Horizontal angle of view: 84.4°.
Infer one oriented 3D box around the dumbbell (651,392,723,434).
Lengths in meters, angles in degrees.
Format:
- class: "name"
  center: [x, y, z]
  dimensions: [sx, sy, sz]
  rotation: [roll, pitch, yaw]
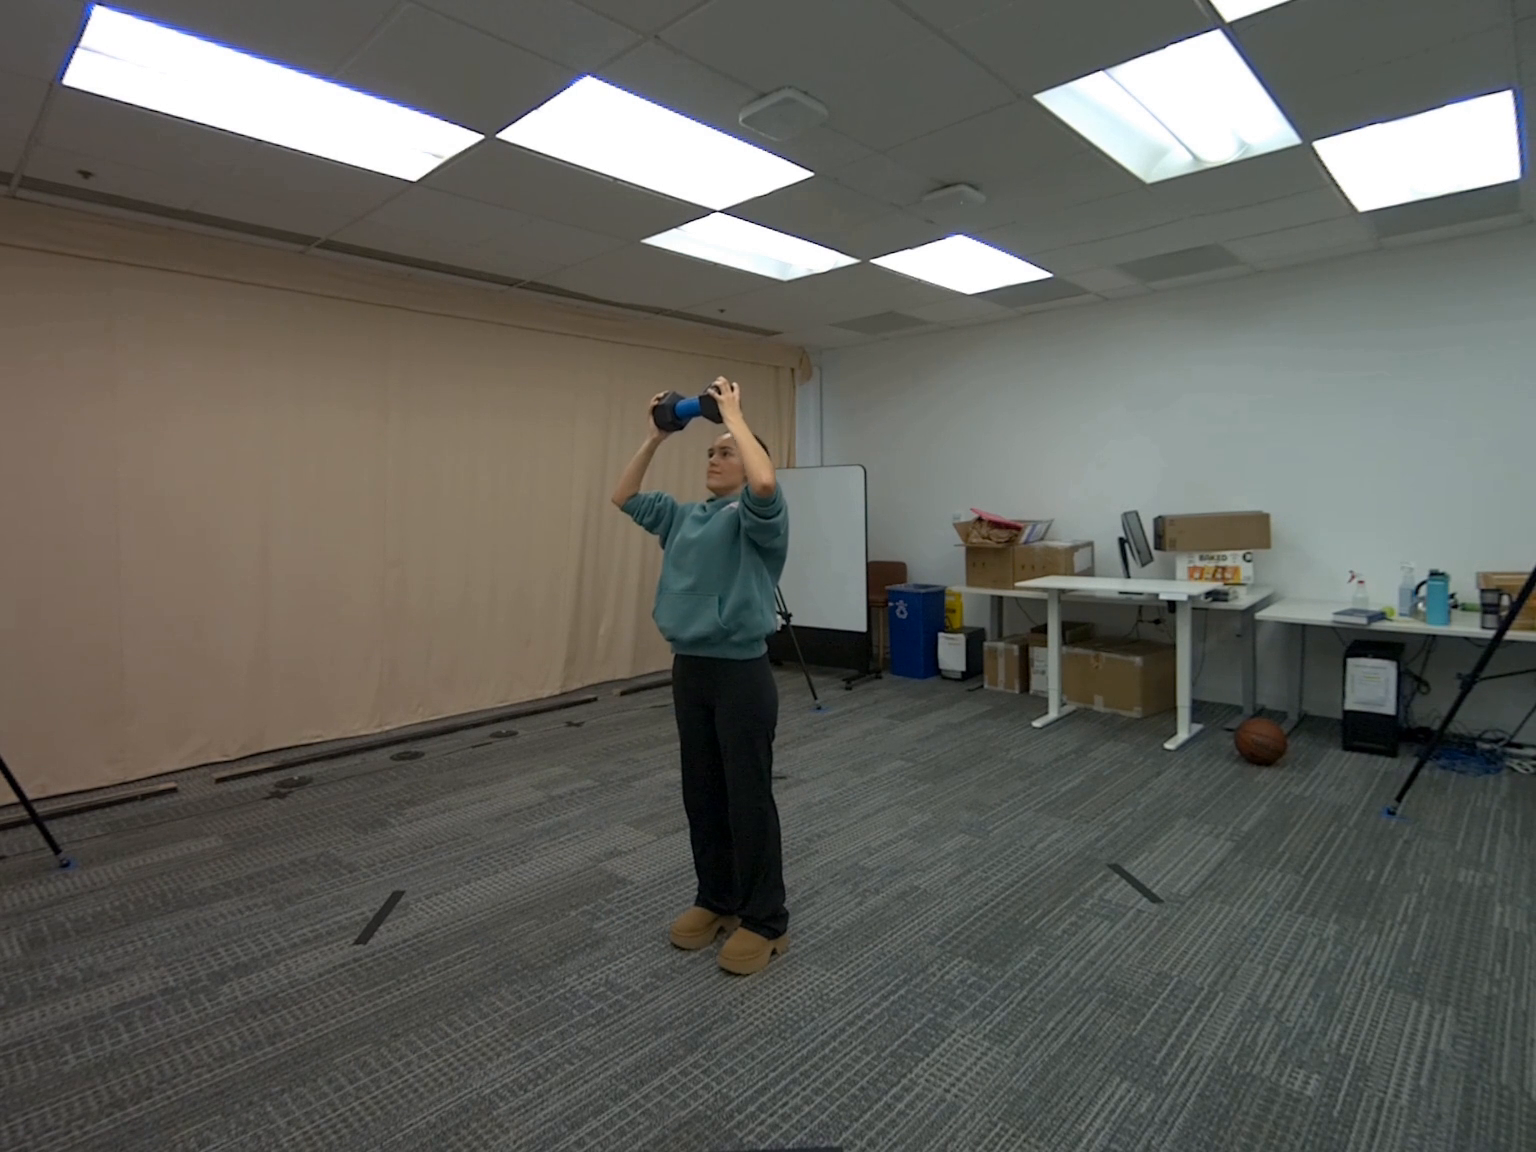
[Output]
- class: "dumbbell"
  center: [-0.214, -0.509, 2.529]
  dimensions: [0.303, 0.122, 0.106]
  rotation: [0, 16, 43]
